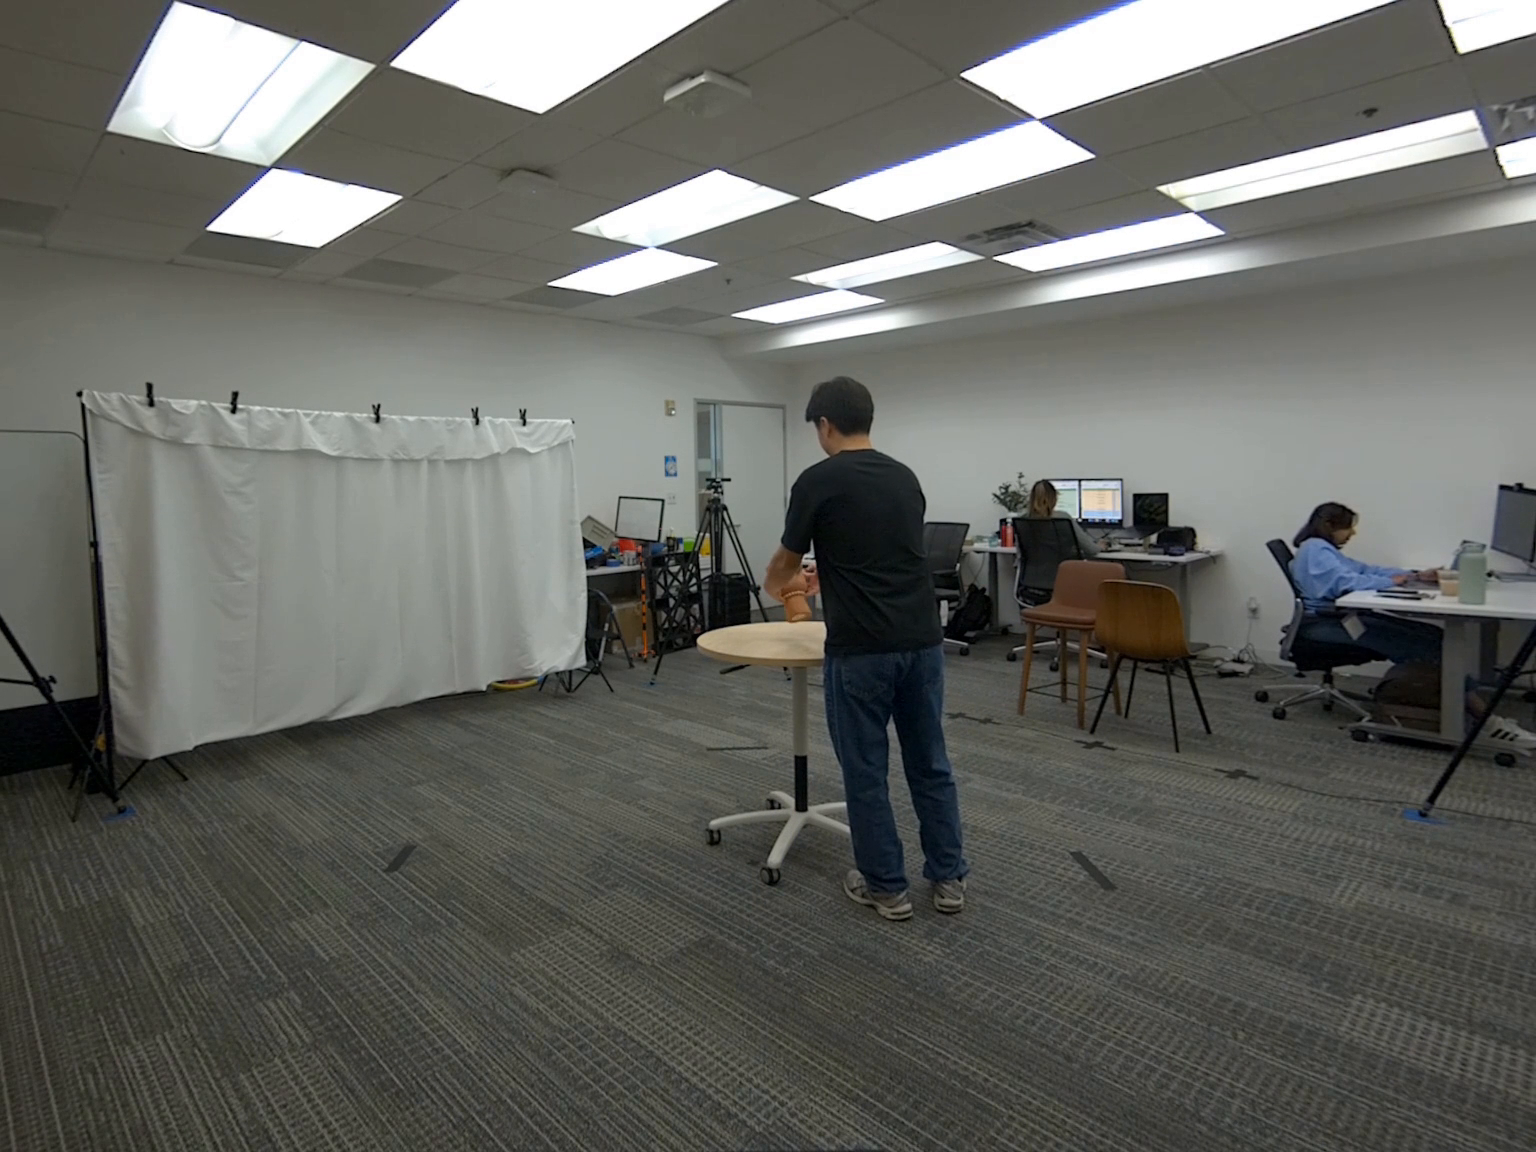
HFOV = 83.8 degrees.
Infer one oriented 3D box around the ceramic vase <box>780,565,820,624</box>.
[{"bbox_3d":[0.088,0.053,3.195,0.134,0.225,0.156,-13,-22,-5],"label":"ceramic vase"}]
